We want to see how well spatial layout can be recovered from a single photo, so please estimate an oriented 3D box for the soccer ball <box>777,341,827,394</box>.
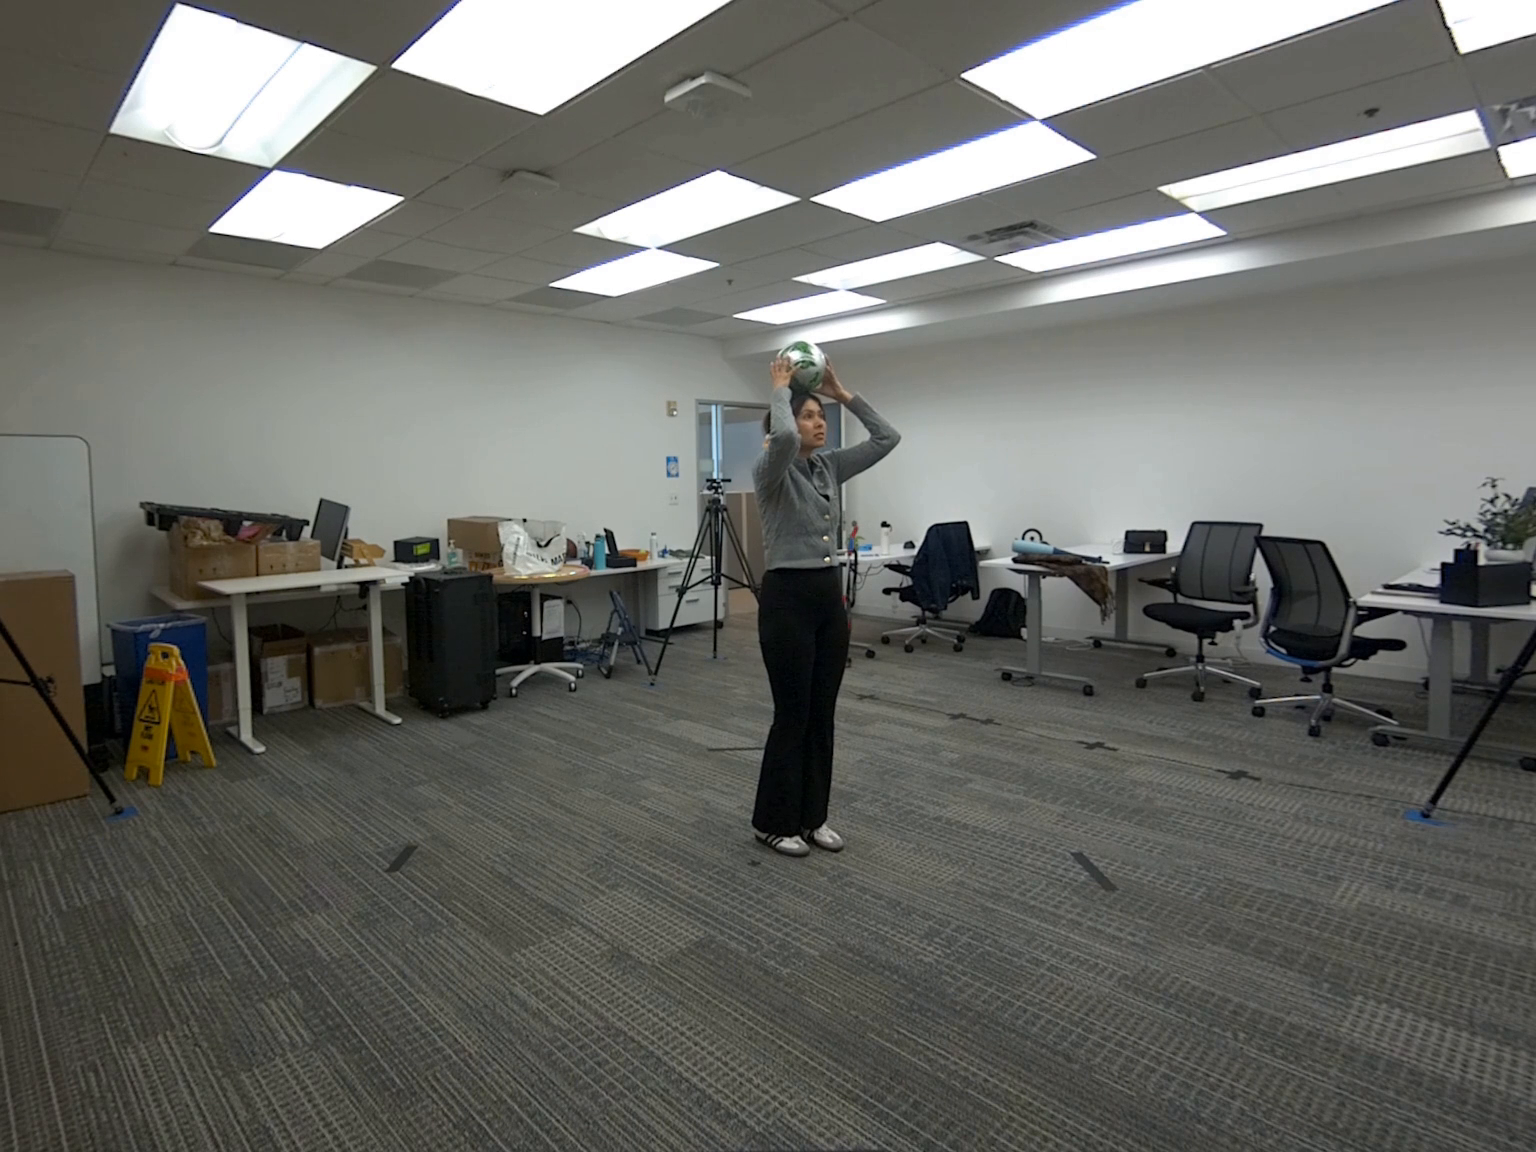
[{"bbox_3d":[0.118,-0.767,3.133,0.187,0.187,0.188,-1,5,-2],"label":"soccer ball"}]
